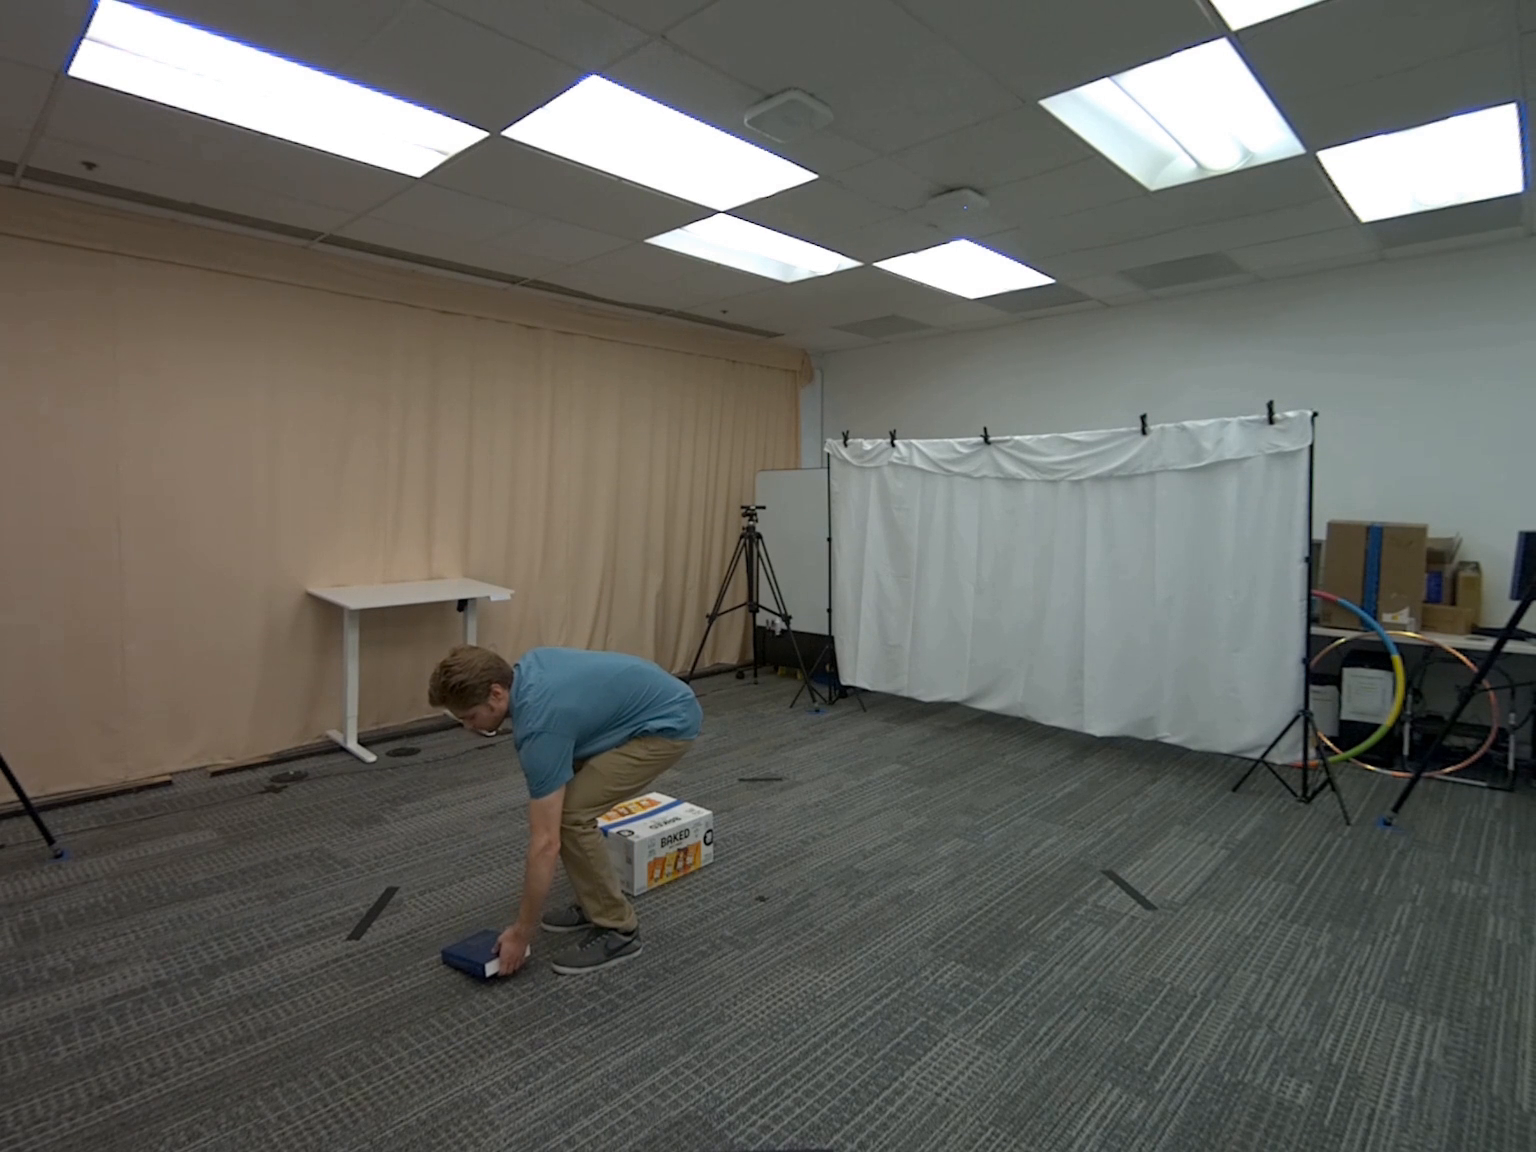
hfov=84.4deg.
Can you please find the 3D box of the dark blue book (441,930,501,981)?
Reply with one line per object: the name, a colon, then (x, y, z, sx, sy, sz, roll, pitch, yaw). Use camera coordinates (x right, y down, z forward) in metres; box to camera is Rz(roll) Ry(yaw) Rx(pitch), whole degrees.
dark blue book: (-0.859, 1.149, 2.556, 0.252, 0.045, 0.158, -10, -3, 41)
